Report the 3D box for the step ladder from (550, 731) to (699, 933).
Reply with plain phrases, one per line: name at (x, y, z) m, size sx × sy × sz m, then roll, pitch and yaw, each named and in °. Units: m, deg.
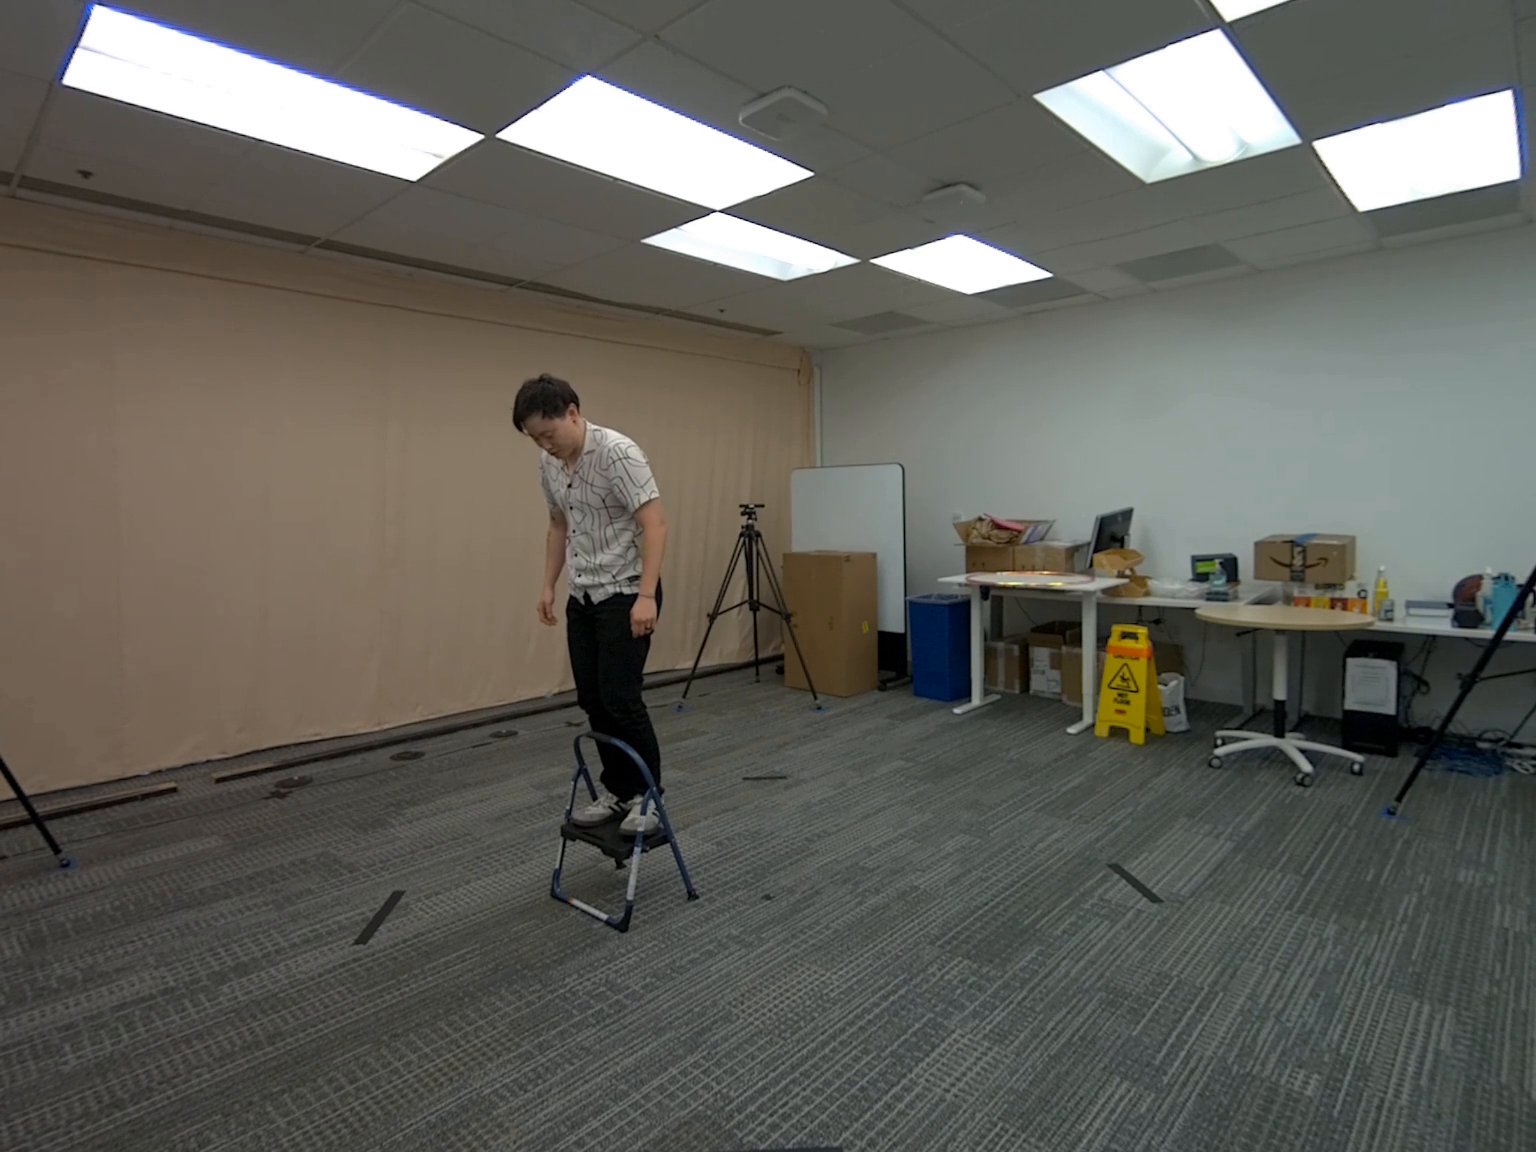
step ladder at (-0.526, 0.845, 2.999) m, size 0.445 × 0.604 × 0.339 m, roll 2°, pitch 5°, yaw 41°
